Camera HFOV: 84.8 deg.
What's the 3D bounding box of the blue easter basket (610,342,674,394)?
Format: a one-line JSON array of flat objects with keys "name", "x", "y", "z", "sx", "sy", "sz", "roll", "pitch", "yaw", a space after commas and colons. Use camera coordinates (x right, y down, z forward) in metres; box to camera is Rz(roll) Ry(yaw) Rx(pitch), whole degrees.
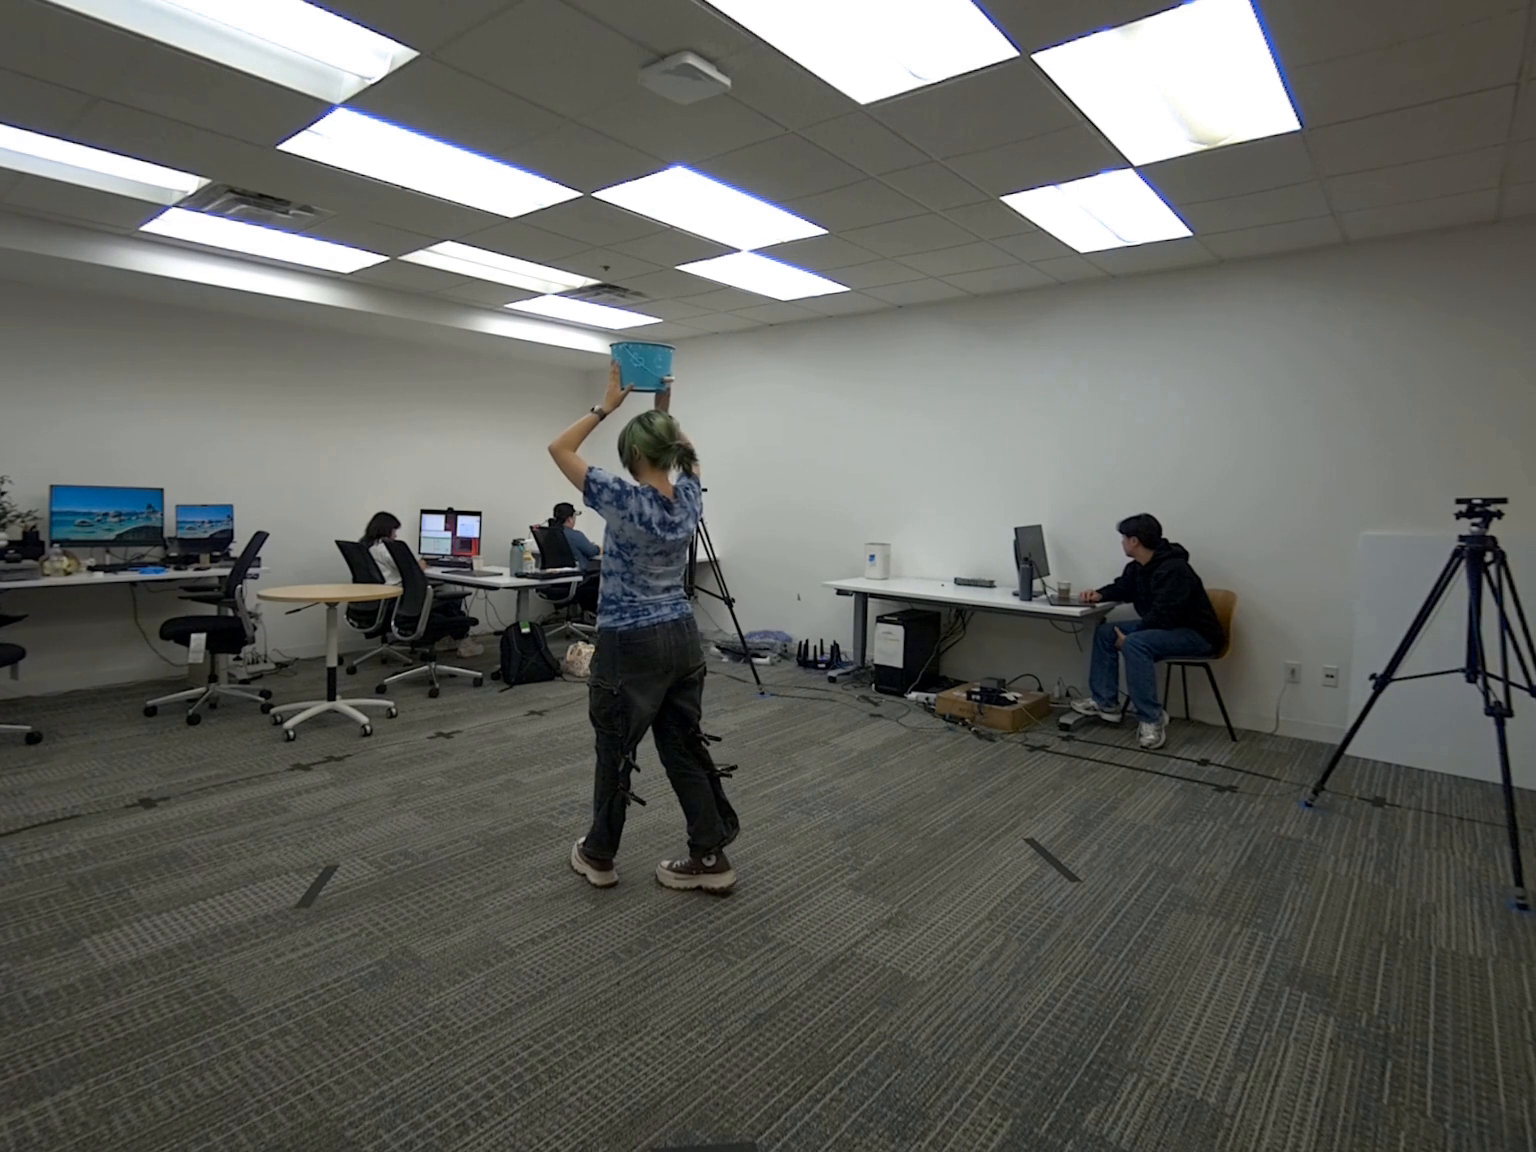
[{"name": "blue easter basket", "x": -0.451, "y": -0.734, "z": 2.976, "sx": 0.243, "sy": 0.155, "sz": 0.245, "roll": 0, "pitch": 5, "yaw": -2}]
